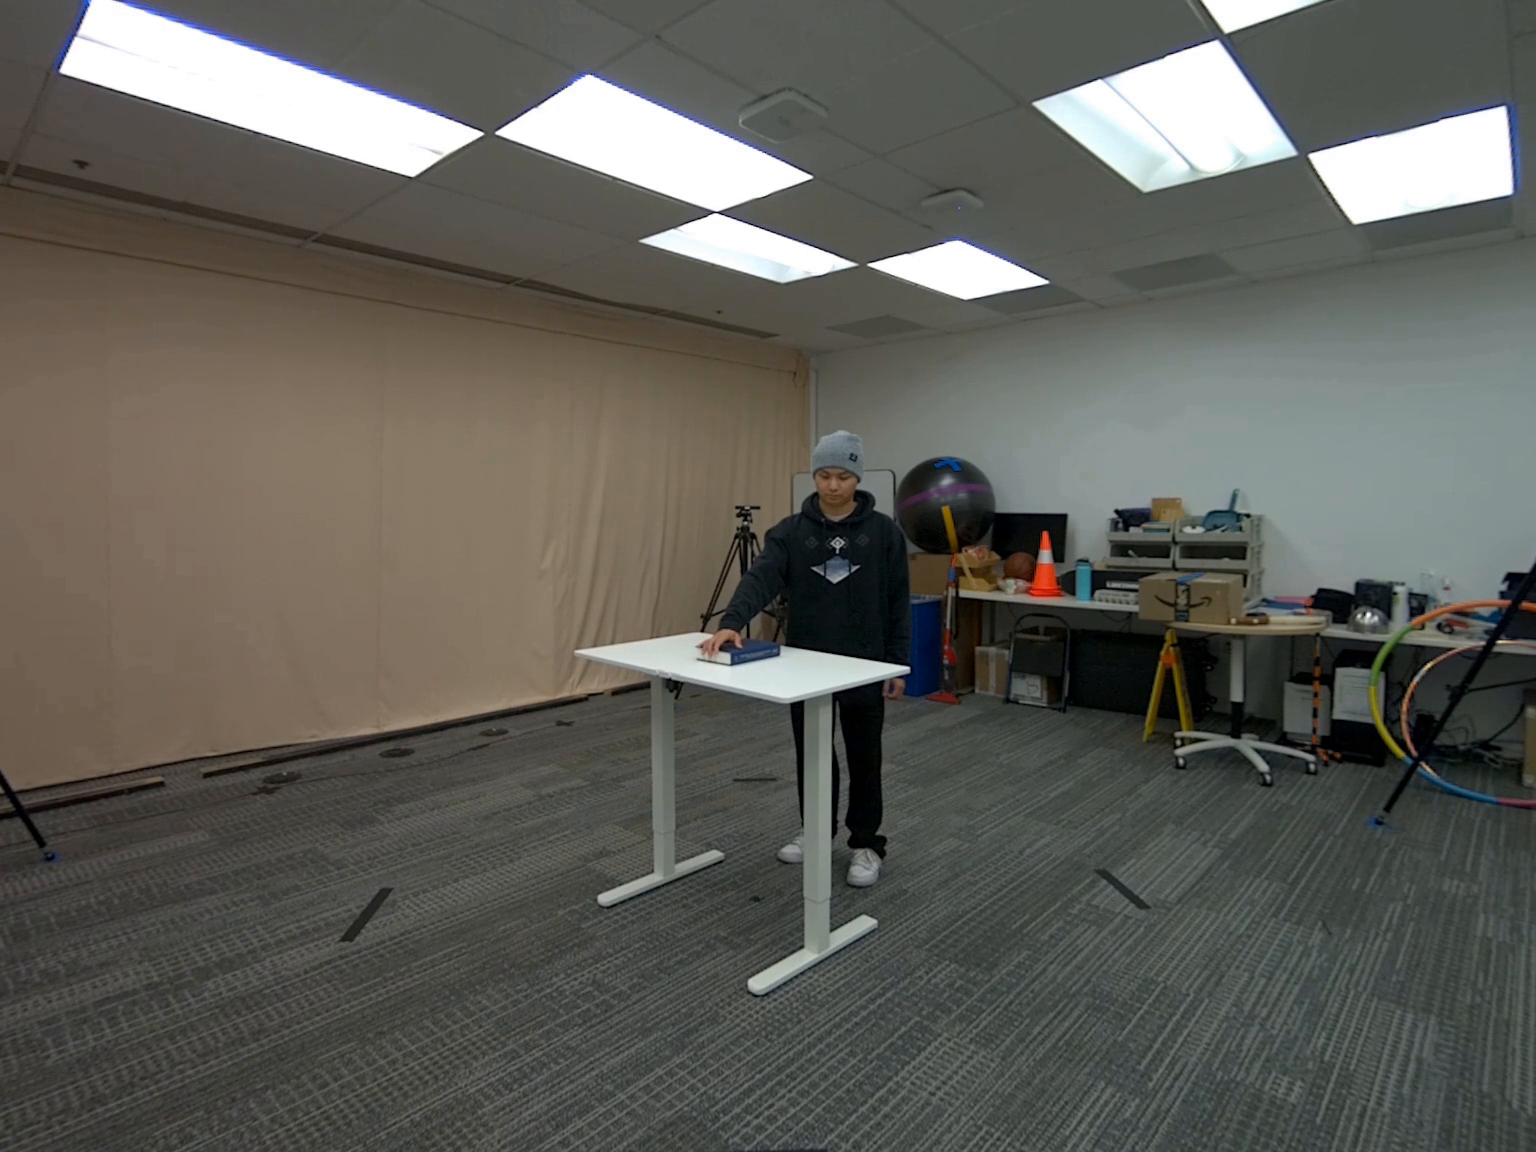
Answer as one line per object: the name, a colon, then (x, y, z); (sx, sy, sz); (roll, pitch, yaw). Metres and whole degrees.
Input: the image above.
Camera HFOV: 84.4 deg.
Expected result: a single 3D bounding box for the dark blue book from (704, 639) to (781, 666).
dark blue book: (-0.090, 0.259, 2.829); (0.169, 0.045, 0.238); (4, 8, 43)
